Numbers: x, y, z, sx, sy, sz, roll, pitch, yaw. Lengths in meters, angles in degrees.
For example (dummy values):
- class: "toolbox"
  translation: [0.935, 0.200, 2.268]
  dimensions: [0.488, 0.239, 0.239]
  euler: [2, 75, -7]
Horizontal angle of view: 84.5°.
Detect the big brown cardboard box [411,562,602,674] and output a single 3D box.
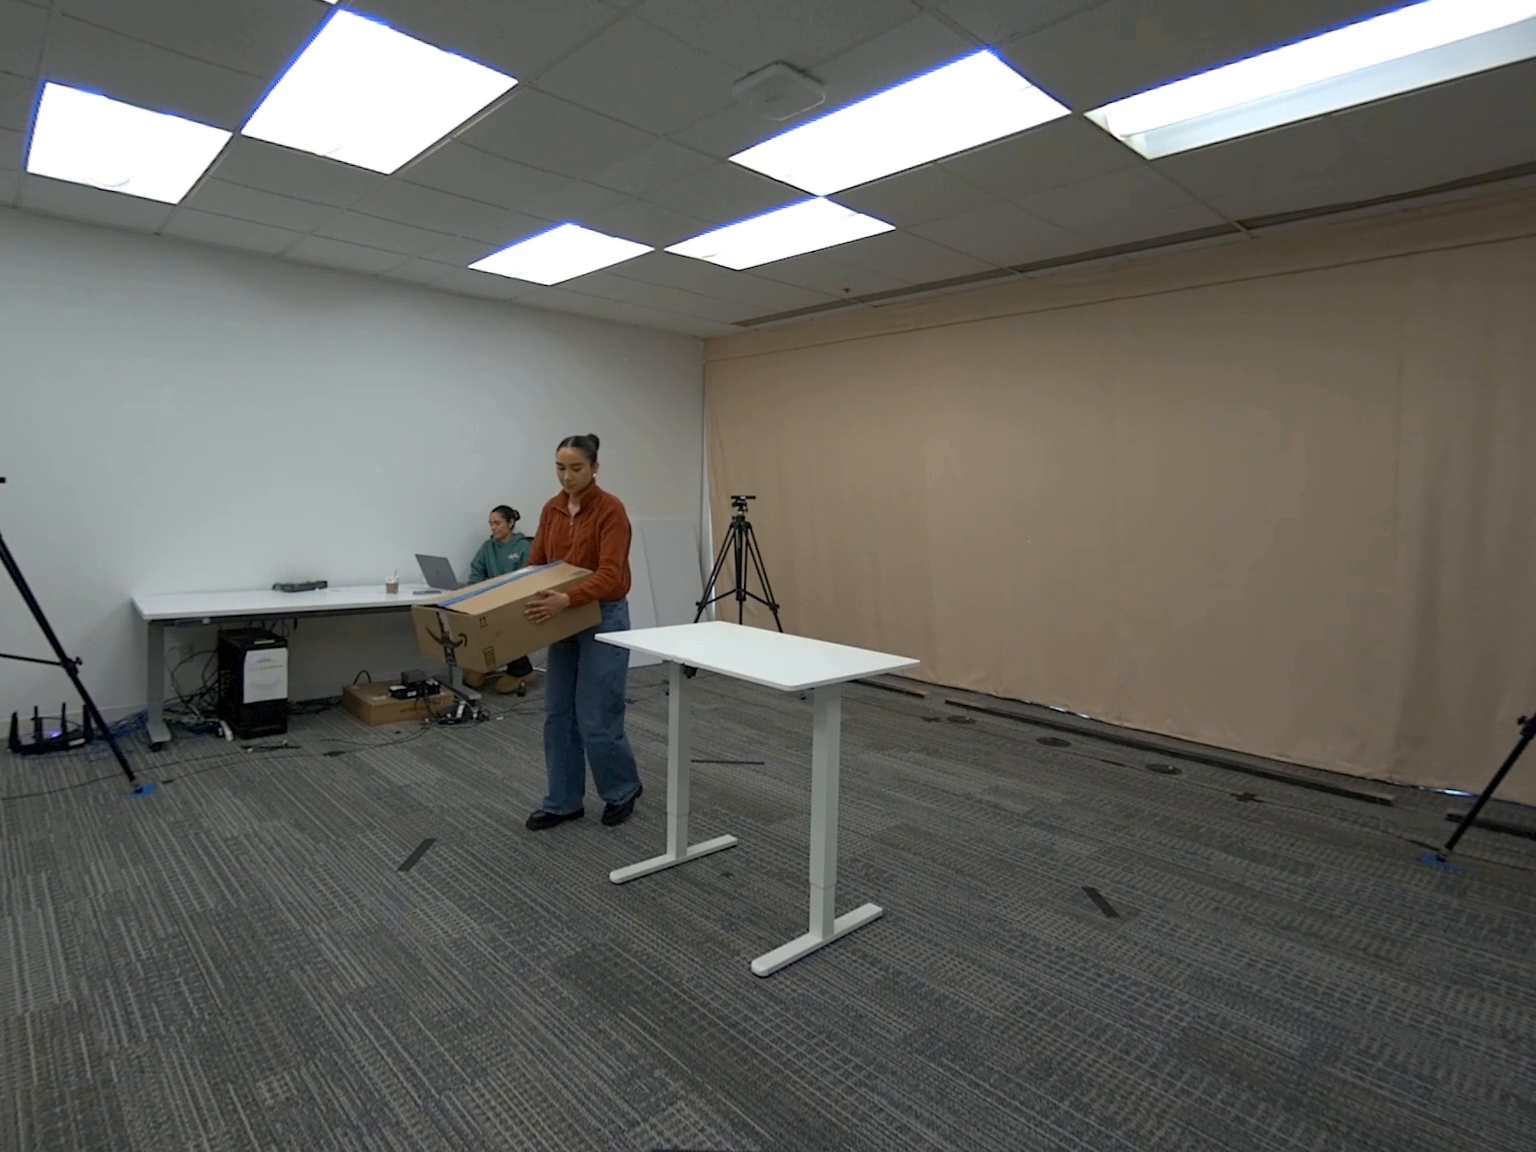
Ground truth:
- class: "big brown cardboard box"
  translation: [-1.003, 0.139, 3.256]
  dimensions: [0.428, 0.230, 0.581]
  euler: [4, 18, 36]
